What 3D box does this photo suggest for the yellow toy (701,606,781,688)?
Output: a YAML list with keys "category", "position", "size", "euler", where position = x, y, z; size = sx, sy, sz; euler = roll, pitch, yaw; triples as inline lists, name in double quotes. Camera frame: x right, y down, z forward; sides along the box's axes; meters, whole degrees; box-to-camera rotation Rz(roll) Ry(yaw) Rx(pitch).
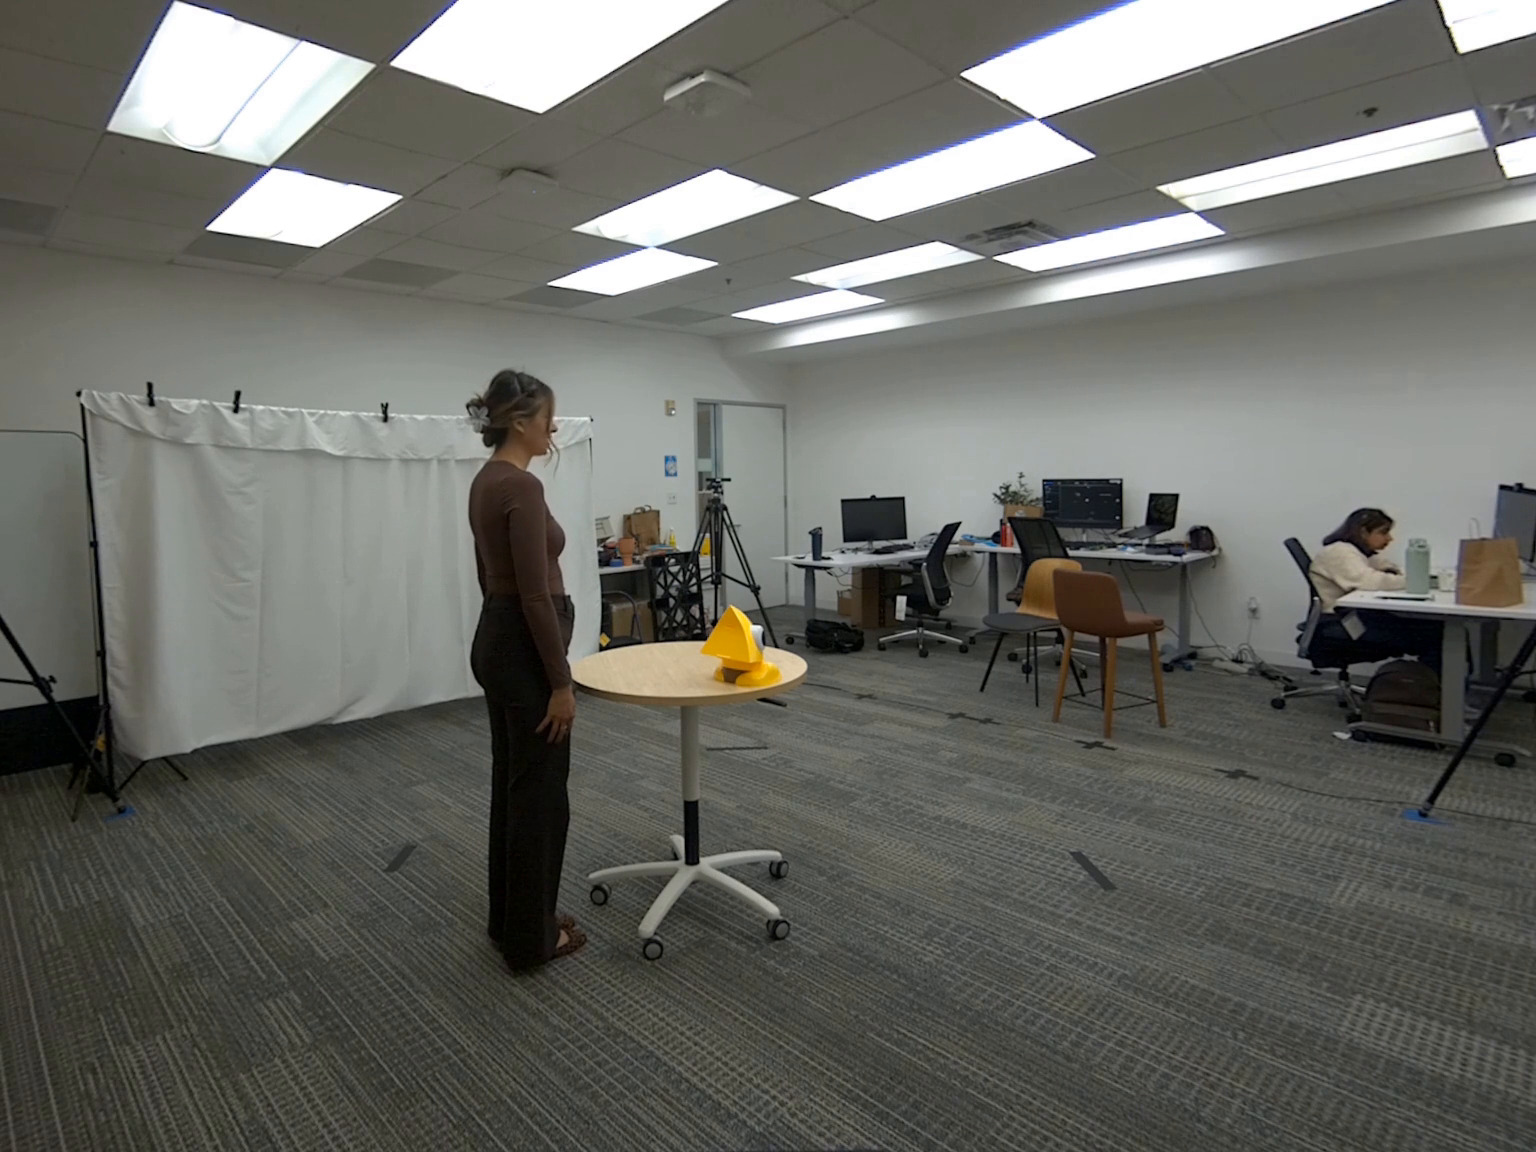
- category: "yellow toy"
  position: [-0.070, 0.194, 2.569]
  size: [0.211, 0.230, 0.188]
  euler: [4, 6, 41]
